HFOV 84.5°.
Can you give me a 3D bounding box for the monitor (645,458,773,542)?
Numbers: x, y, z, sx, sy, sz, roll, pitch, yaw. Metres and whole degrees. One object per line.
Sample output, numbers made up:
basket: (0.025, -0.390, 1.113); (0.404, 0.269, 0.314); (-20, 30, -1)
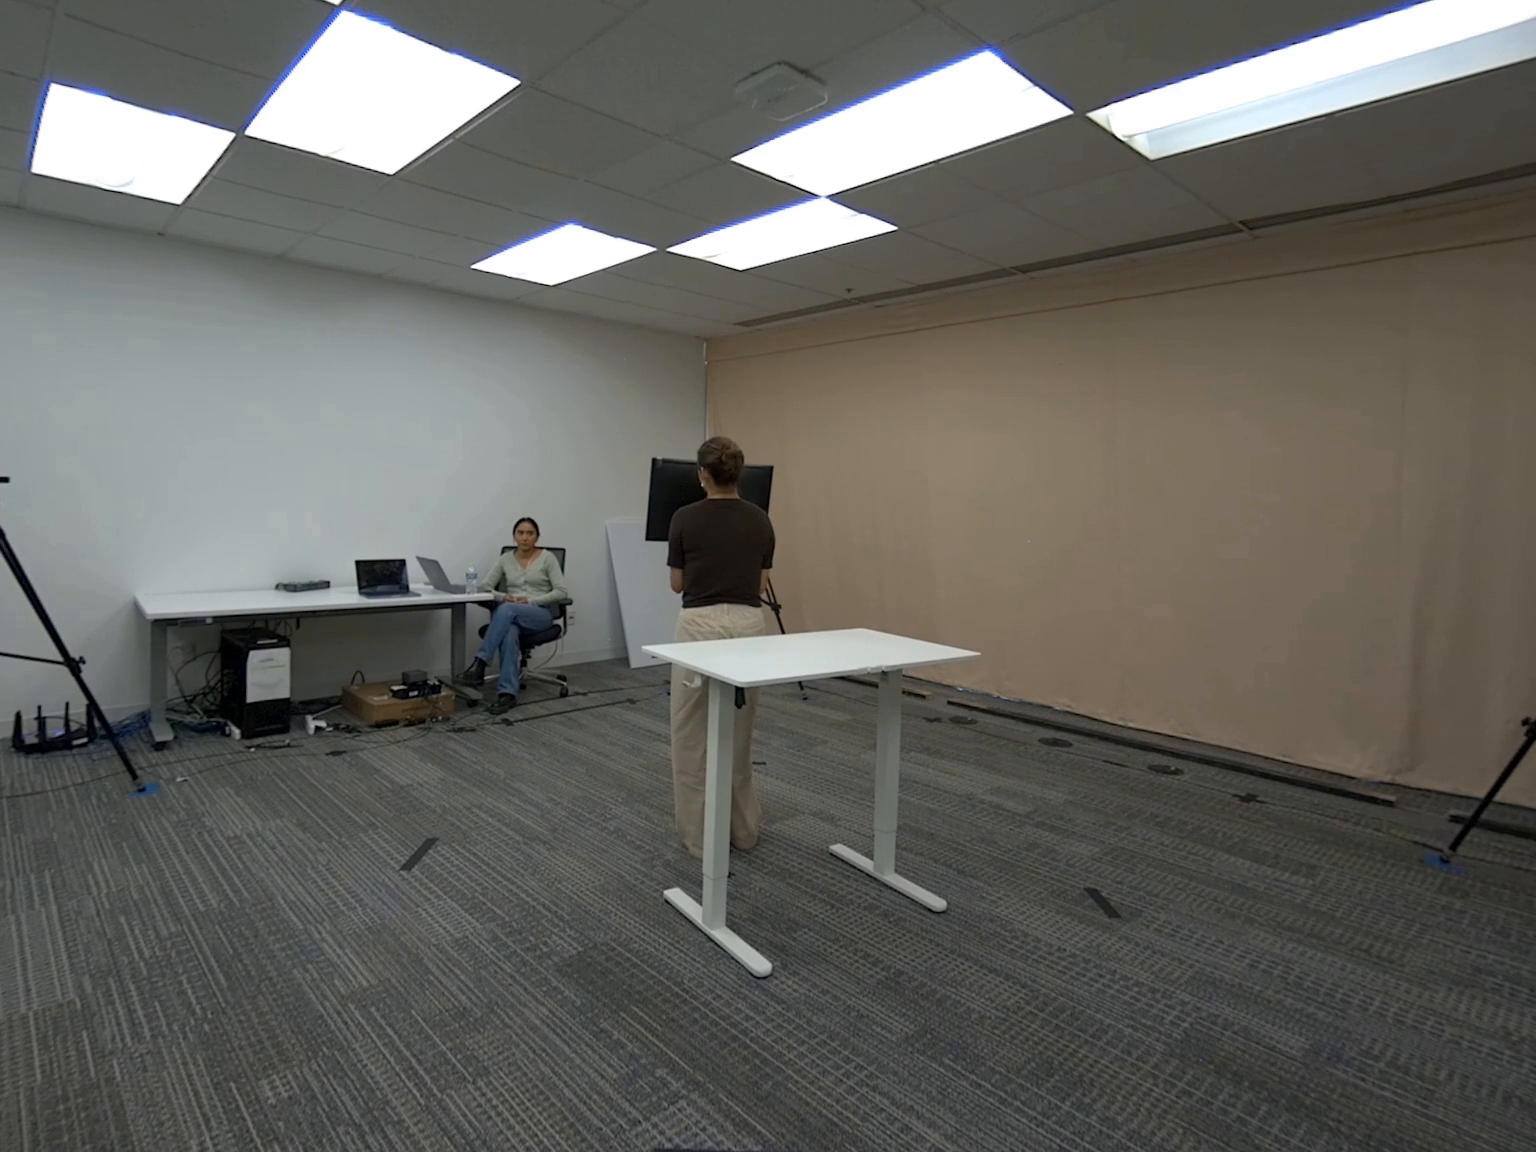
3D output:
monitor: (-0.234, -0.222, 3.538); (0.531, 0.523, 0.190); (2, -1, -20)
